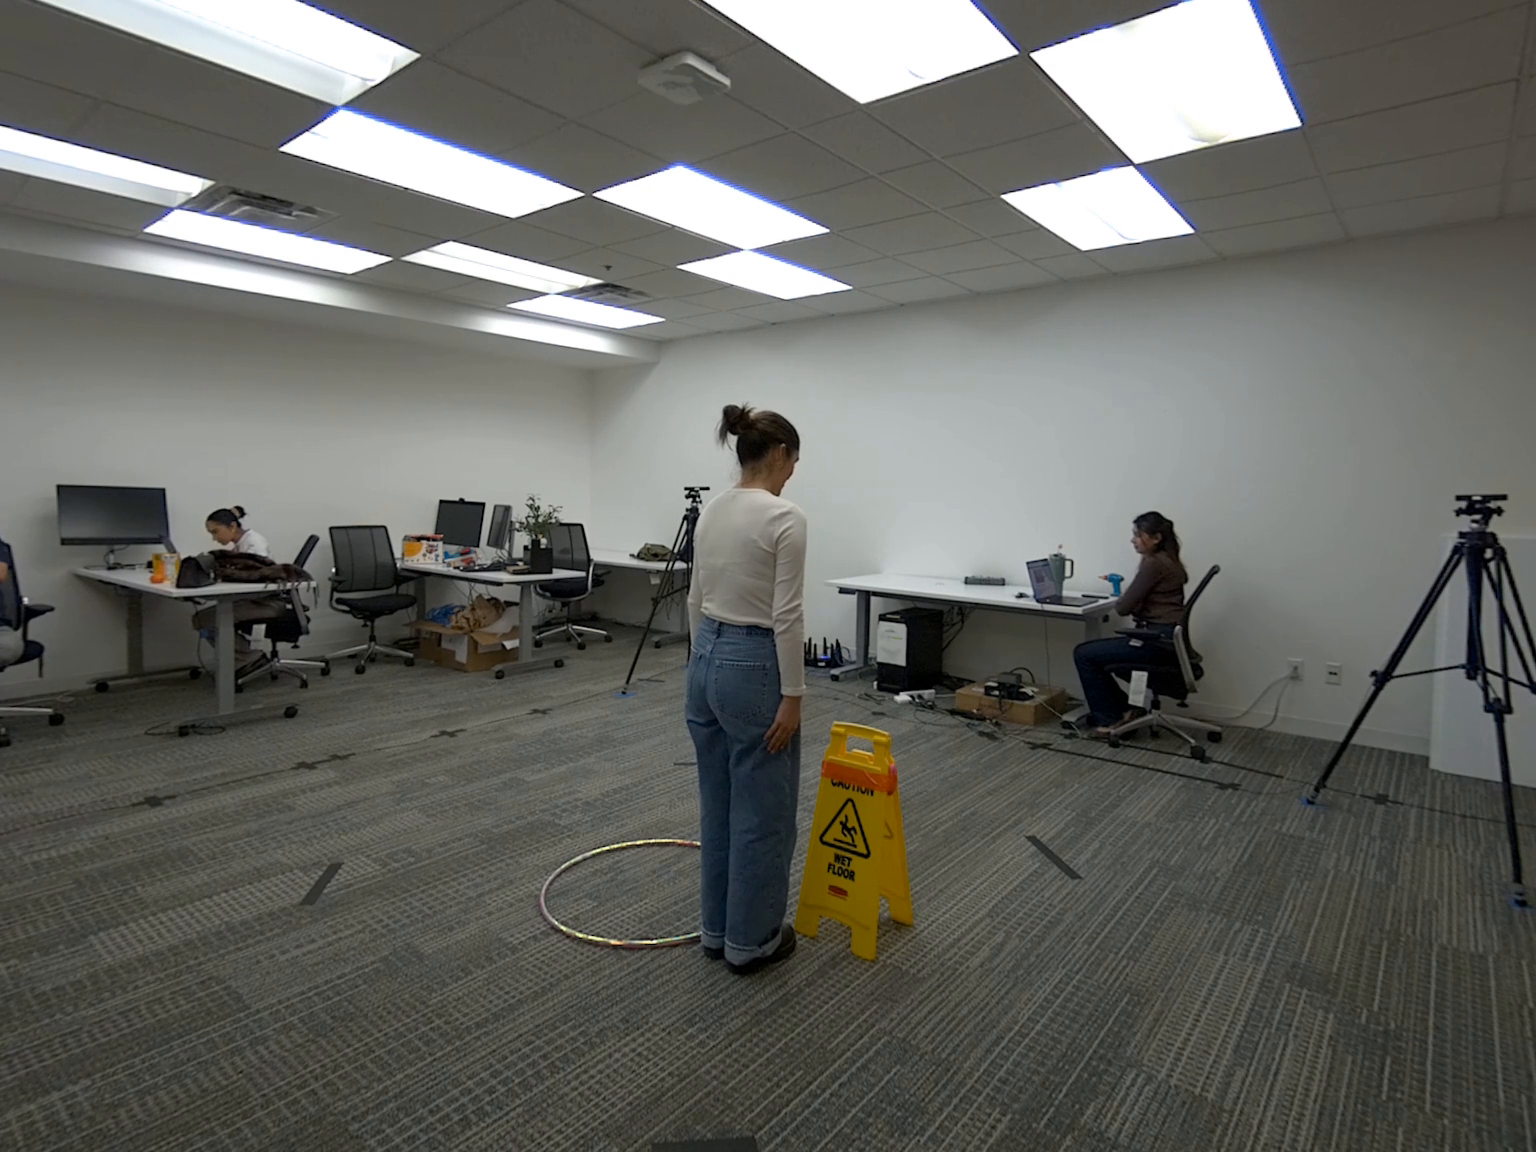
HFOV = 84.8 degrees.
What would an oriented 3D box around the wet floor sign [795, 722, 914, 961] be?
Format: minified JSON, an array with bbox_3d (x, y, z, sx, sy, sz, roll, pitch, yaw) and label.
[{"bbox_3d":[0.272,0.789,2.691,0.291,0.644,0.281,4,4,36],"label":"wet floor sign"}]
